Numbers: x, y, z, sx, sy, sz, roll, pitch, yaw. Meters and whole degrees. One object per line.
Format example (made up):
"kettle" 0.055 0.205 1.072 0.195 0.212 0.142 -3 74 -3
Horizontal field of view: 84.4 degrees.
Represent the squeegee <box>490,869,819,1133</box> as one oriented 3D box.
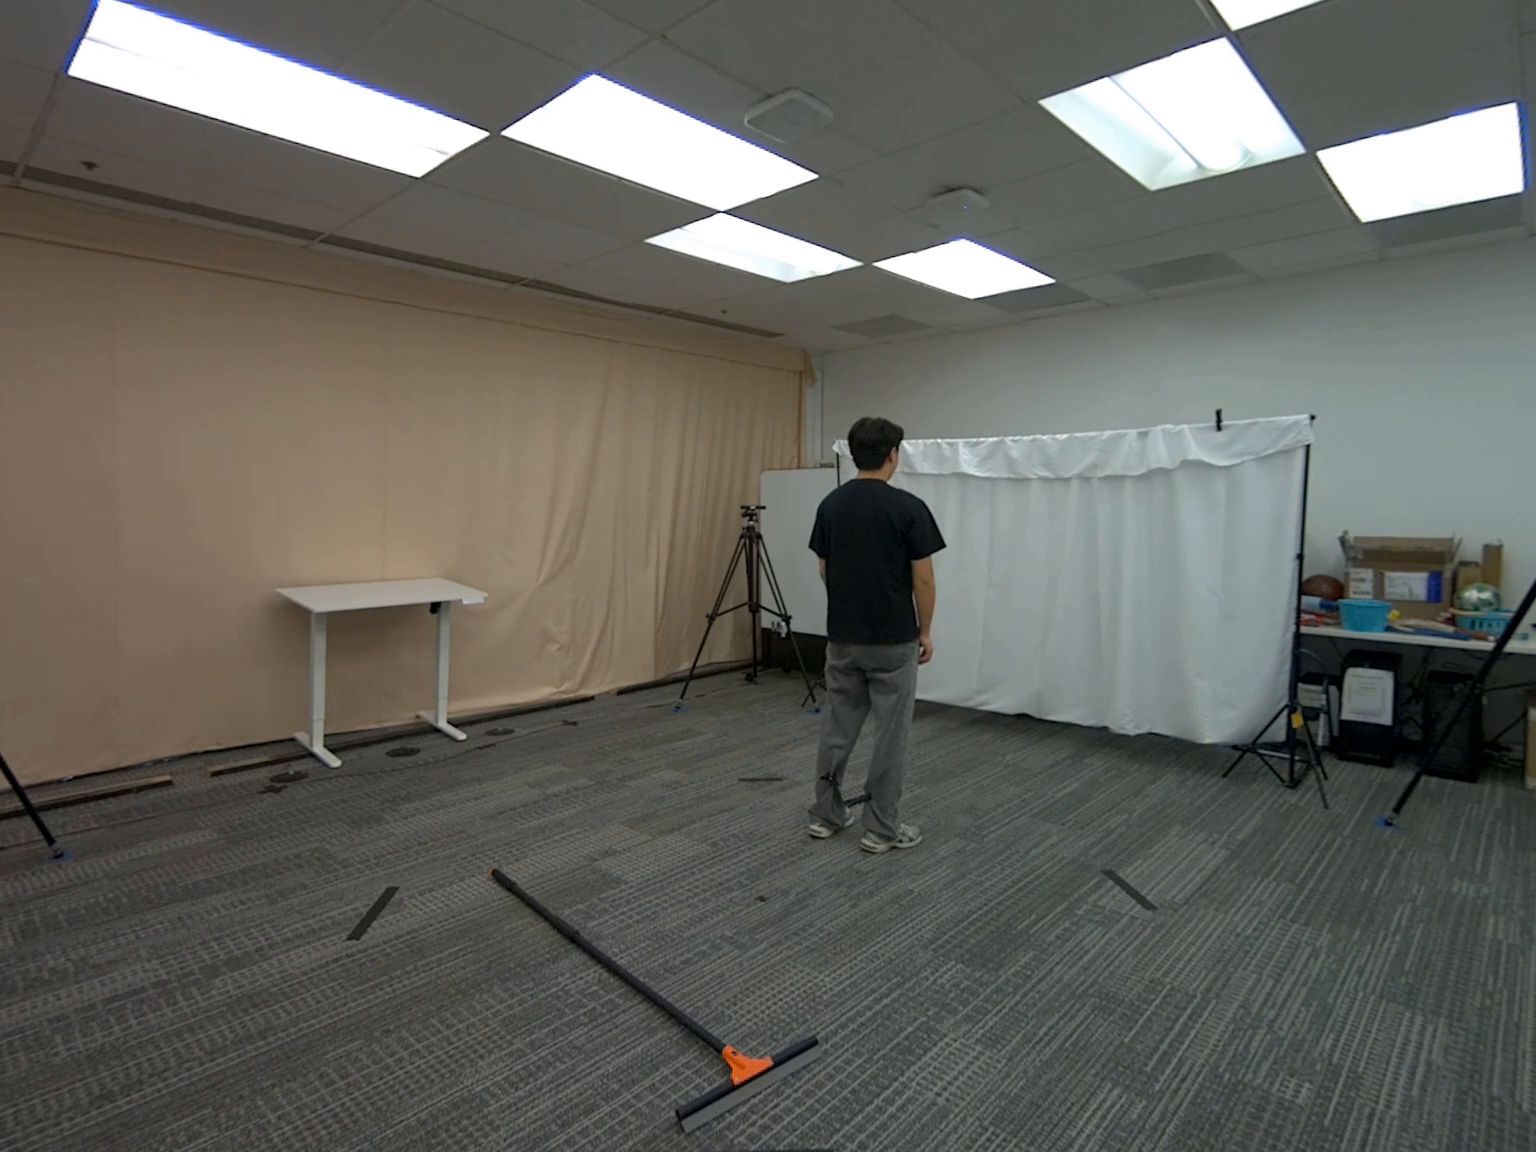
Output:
"squeegee" -0.531 1.138 2.594 0.424 0.053 1.589 -4 6 -41
